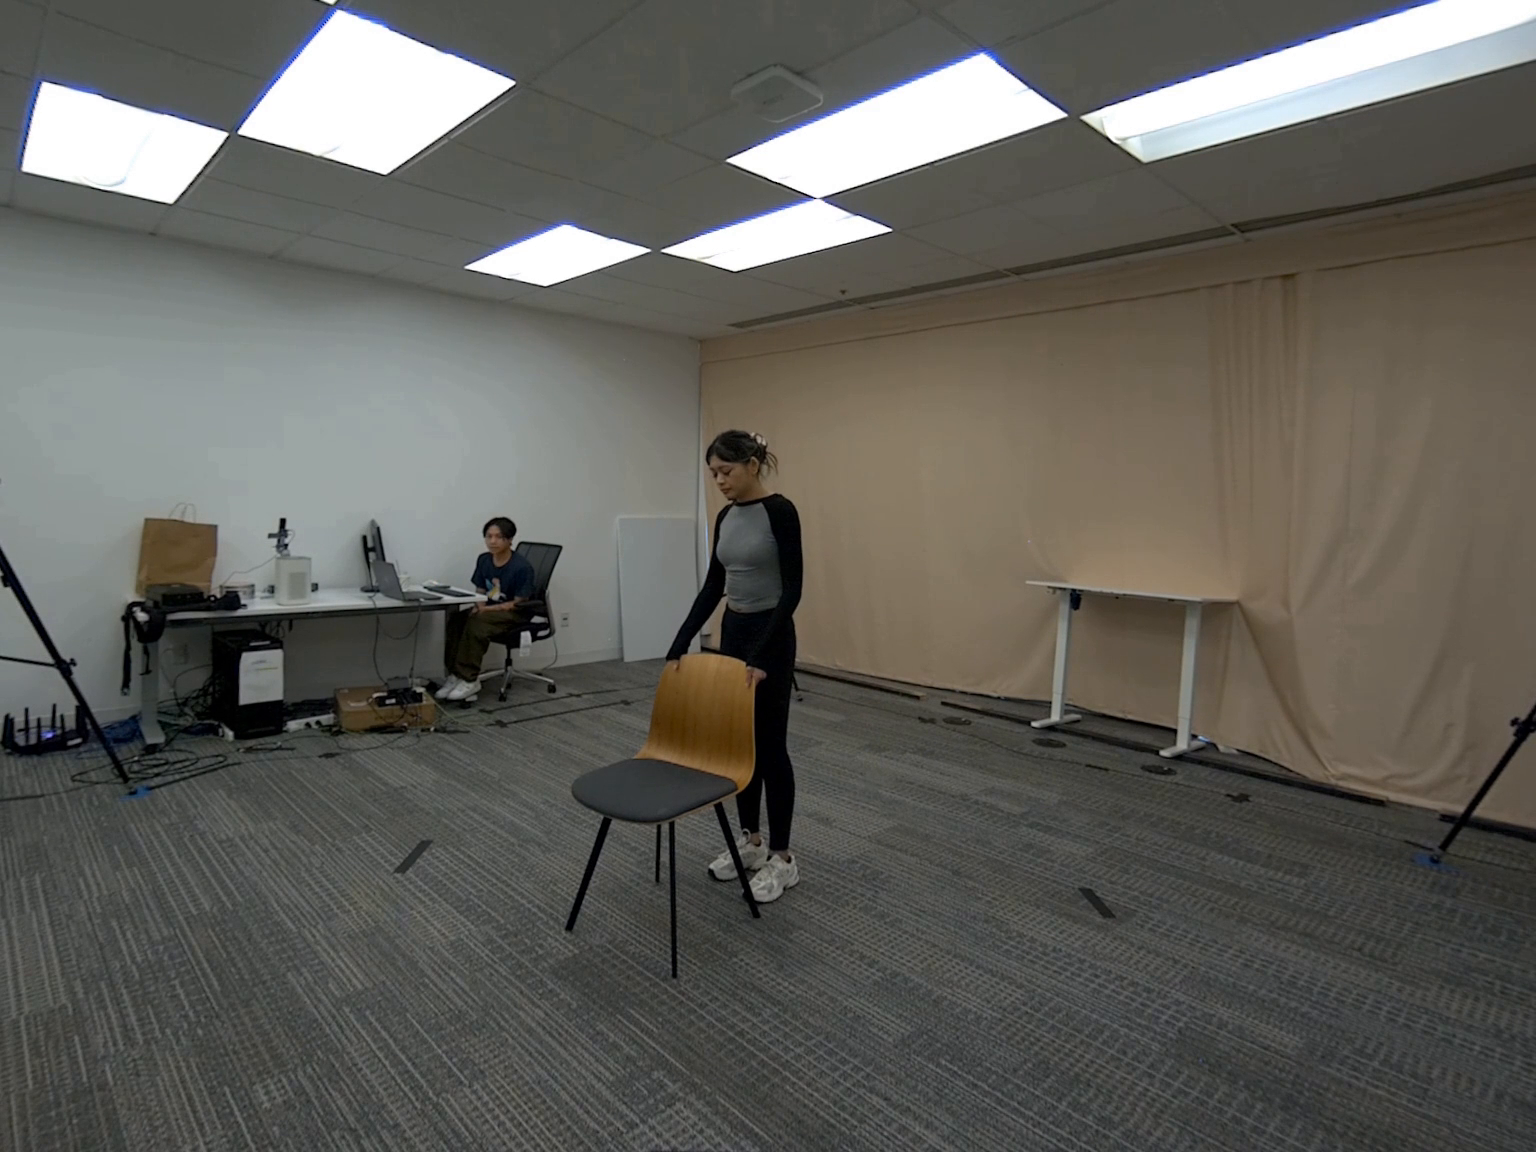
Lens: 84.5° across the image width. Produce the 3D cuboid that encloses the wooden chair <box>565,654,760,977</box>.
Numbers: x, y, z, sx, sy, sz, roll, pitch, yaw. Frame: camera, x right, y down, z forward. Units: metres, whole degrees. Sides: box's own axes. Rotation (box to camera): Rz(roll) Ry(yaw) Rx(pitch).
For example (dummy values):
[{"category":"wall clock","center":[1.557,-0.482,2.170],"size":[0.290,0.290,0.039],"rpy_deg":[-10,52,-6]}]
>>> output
[{"category":"wooden chair","center":[-0.328,0.711,2.703],"size":[0.489,0.878,0.510],"rpy_deg":[4,-1,34]}]
